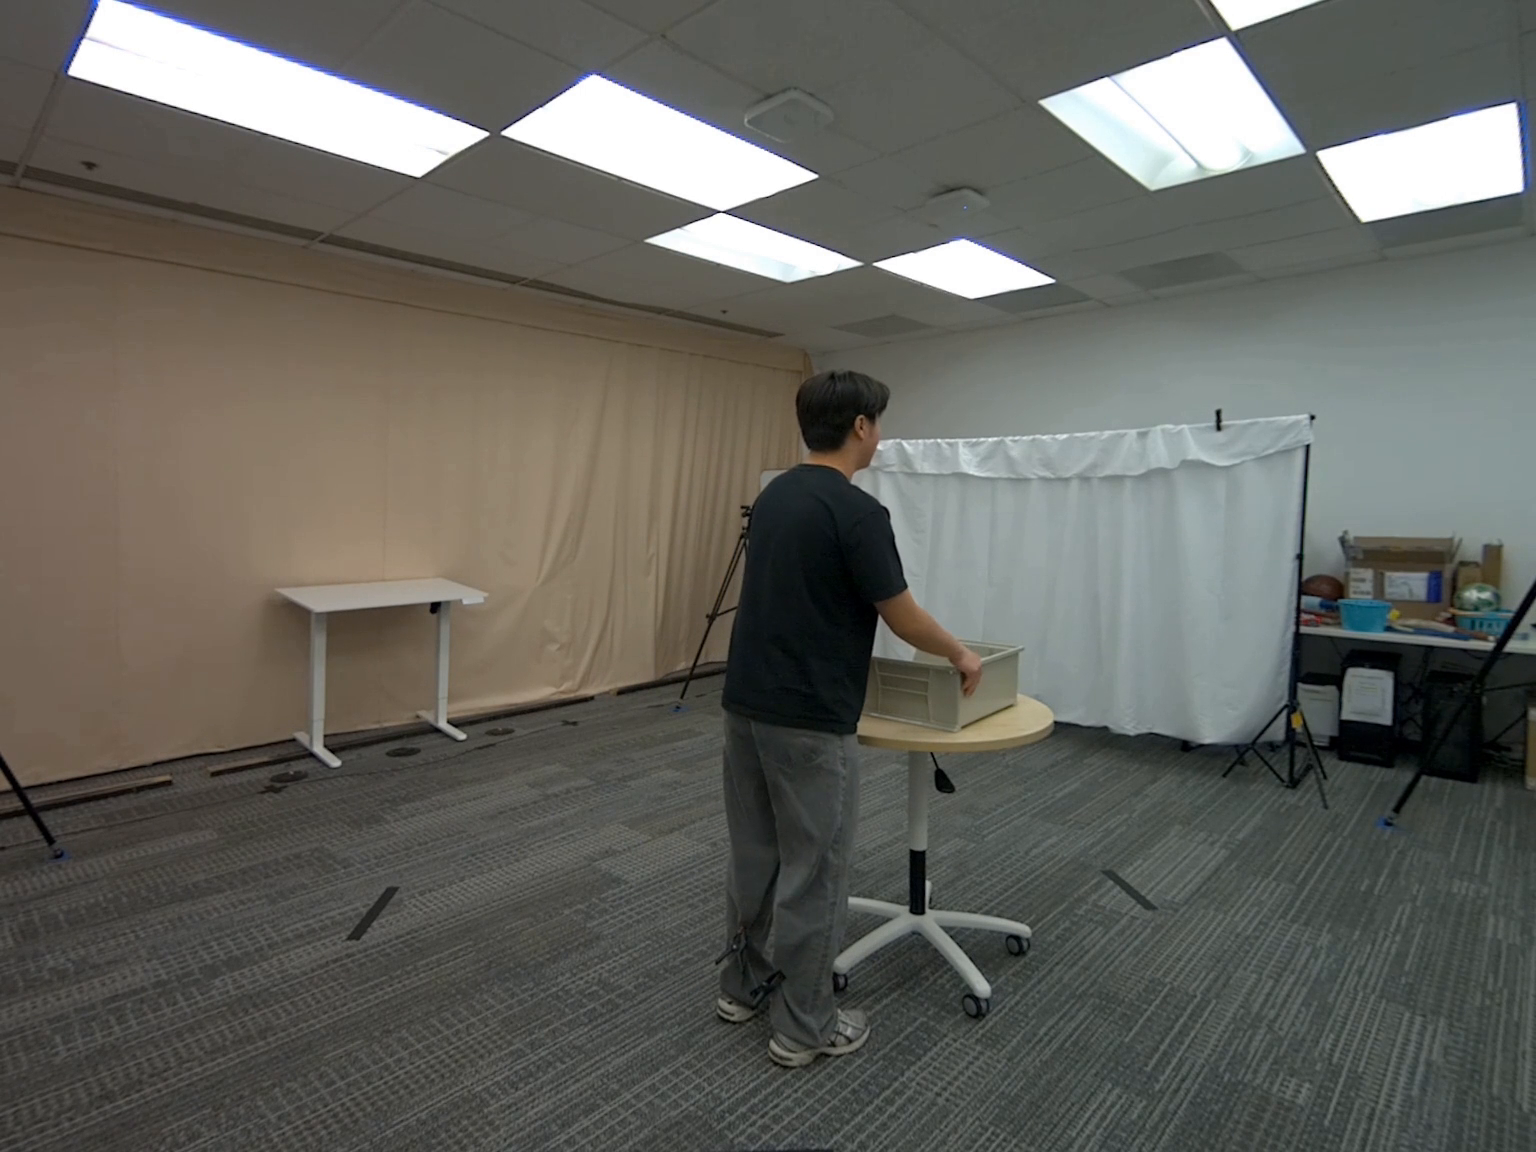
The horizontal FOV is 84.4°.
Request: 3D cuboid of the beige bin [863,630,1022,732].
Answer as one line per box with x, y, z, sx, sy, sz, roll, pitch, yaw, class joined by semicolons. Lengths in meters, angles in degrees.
0.496;0.308;2.526;0.390;0.188;0.409;5;7;42;beige bin
